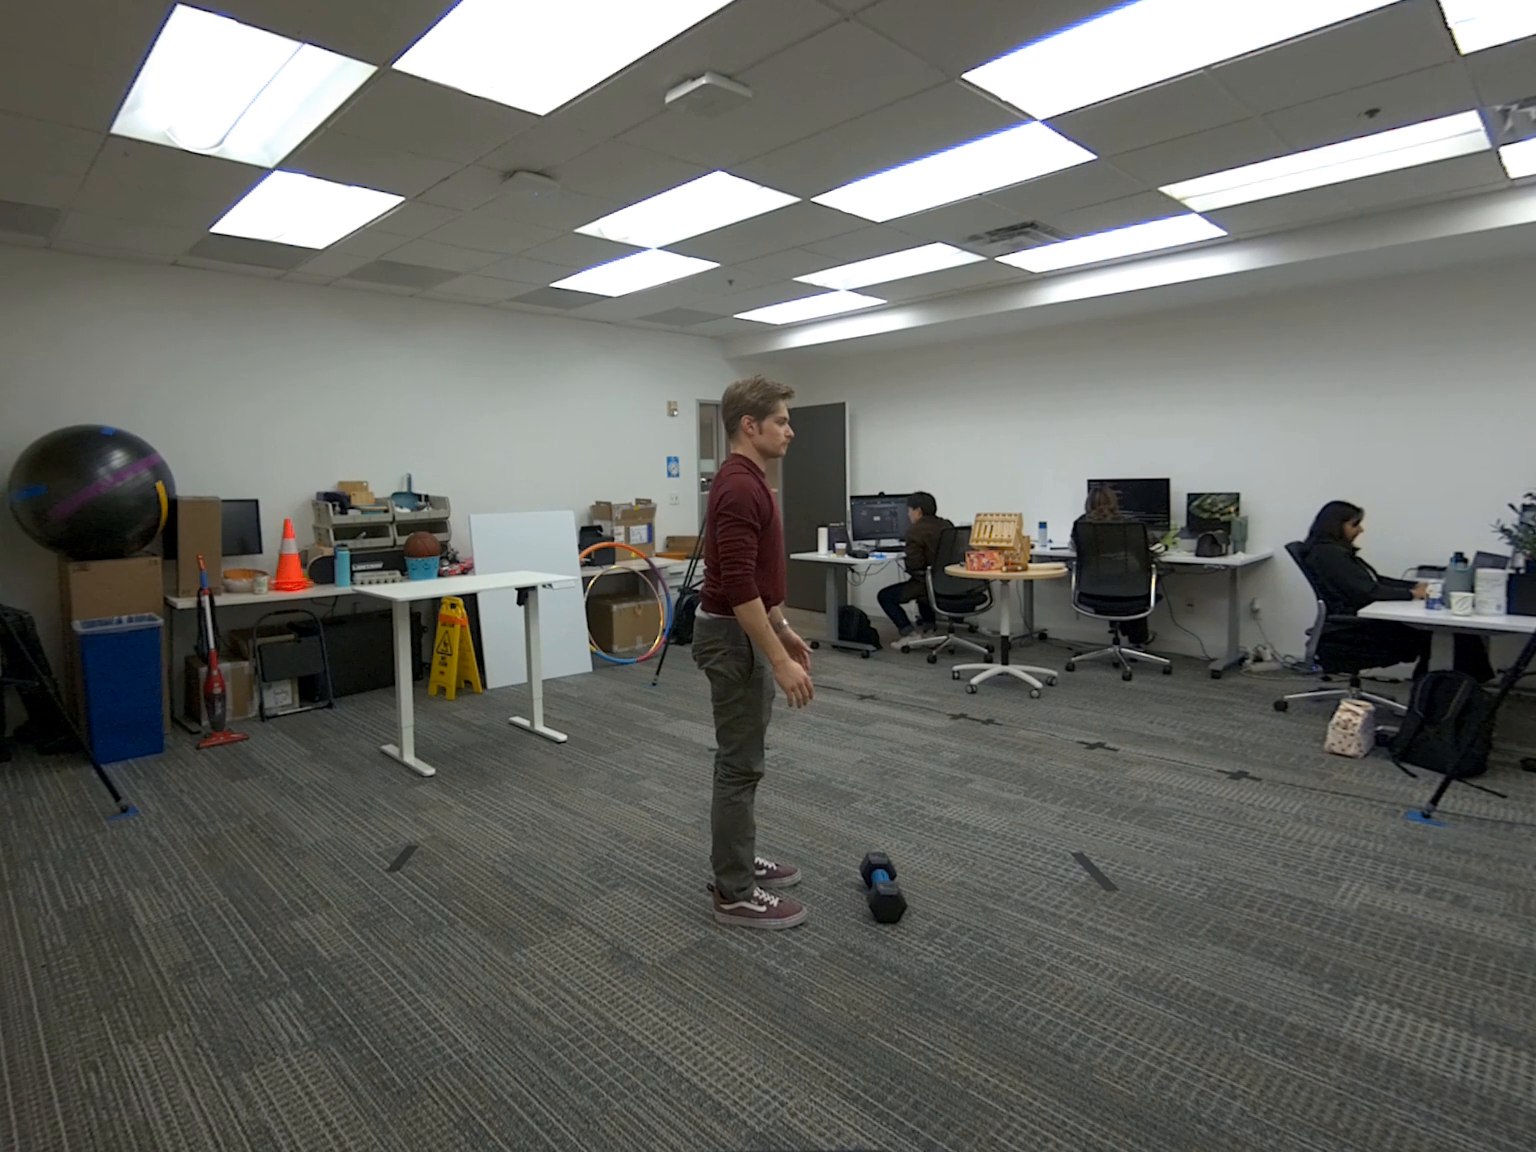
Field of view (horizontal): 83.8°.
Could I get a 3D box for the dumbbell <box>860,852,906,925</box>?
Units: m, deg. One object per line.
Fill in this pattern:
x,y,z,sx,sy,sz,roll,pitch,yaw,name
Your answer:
0.381,1.021,2.807,0.123,0.108,0.294,0,5,1,dumbbell
